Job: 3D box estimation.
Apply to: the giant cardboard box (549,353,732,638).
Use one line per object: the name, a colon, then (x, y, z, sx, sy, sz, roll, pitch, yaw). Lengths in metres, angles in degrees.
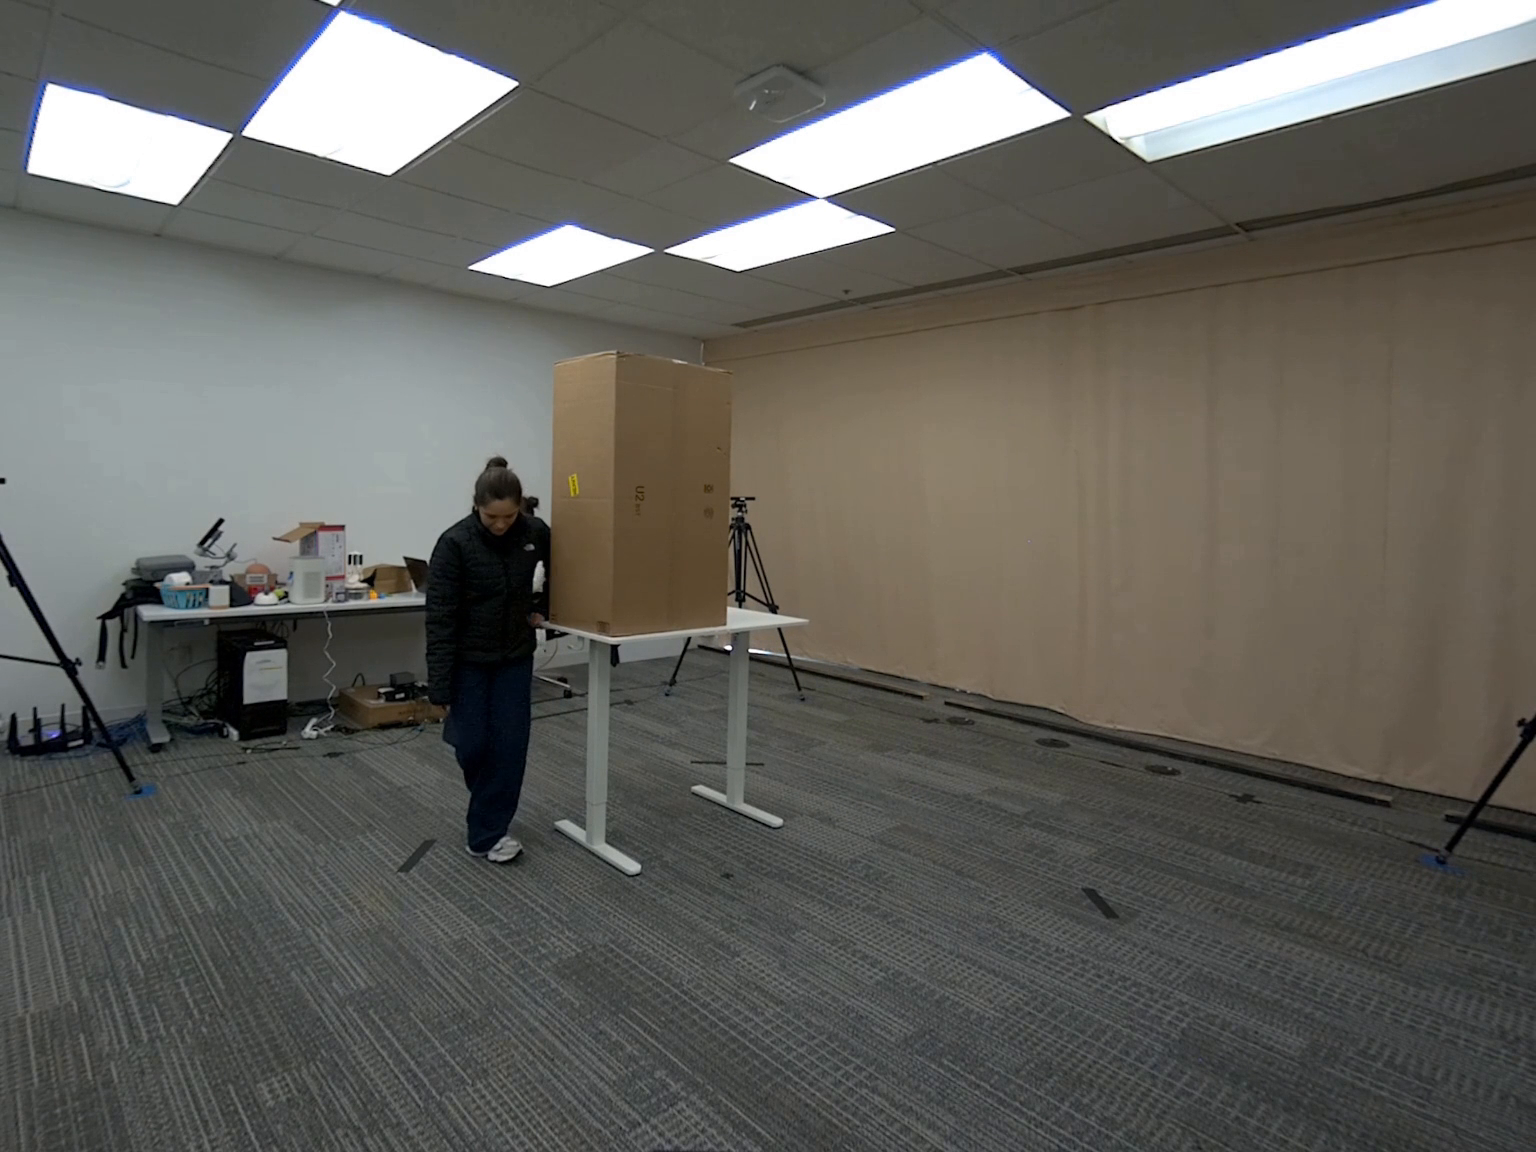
giant cardboard box: (-0.505, -0.311, 3.325, 0.437, 1.024, 0.564, 5, 4, 45)
